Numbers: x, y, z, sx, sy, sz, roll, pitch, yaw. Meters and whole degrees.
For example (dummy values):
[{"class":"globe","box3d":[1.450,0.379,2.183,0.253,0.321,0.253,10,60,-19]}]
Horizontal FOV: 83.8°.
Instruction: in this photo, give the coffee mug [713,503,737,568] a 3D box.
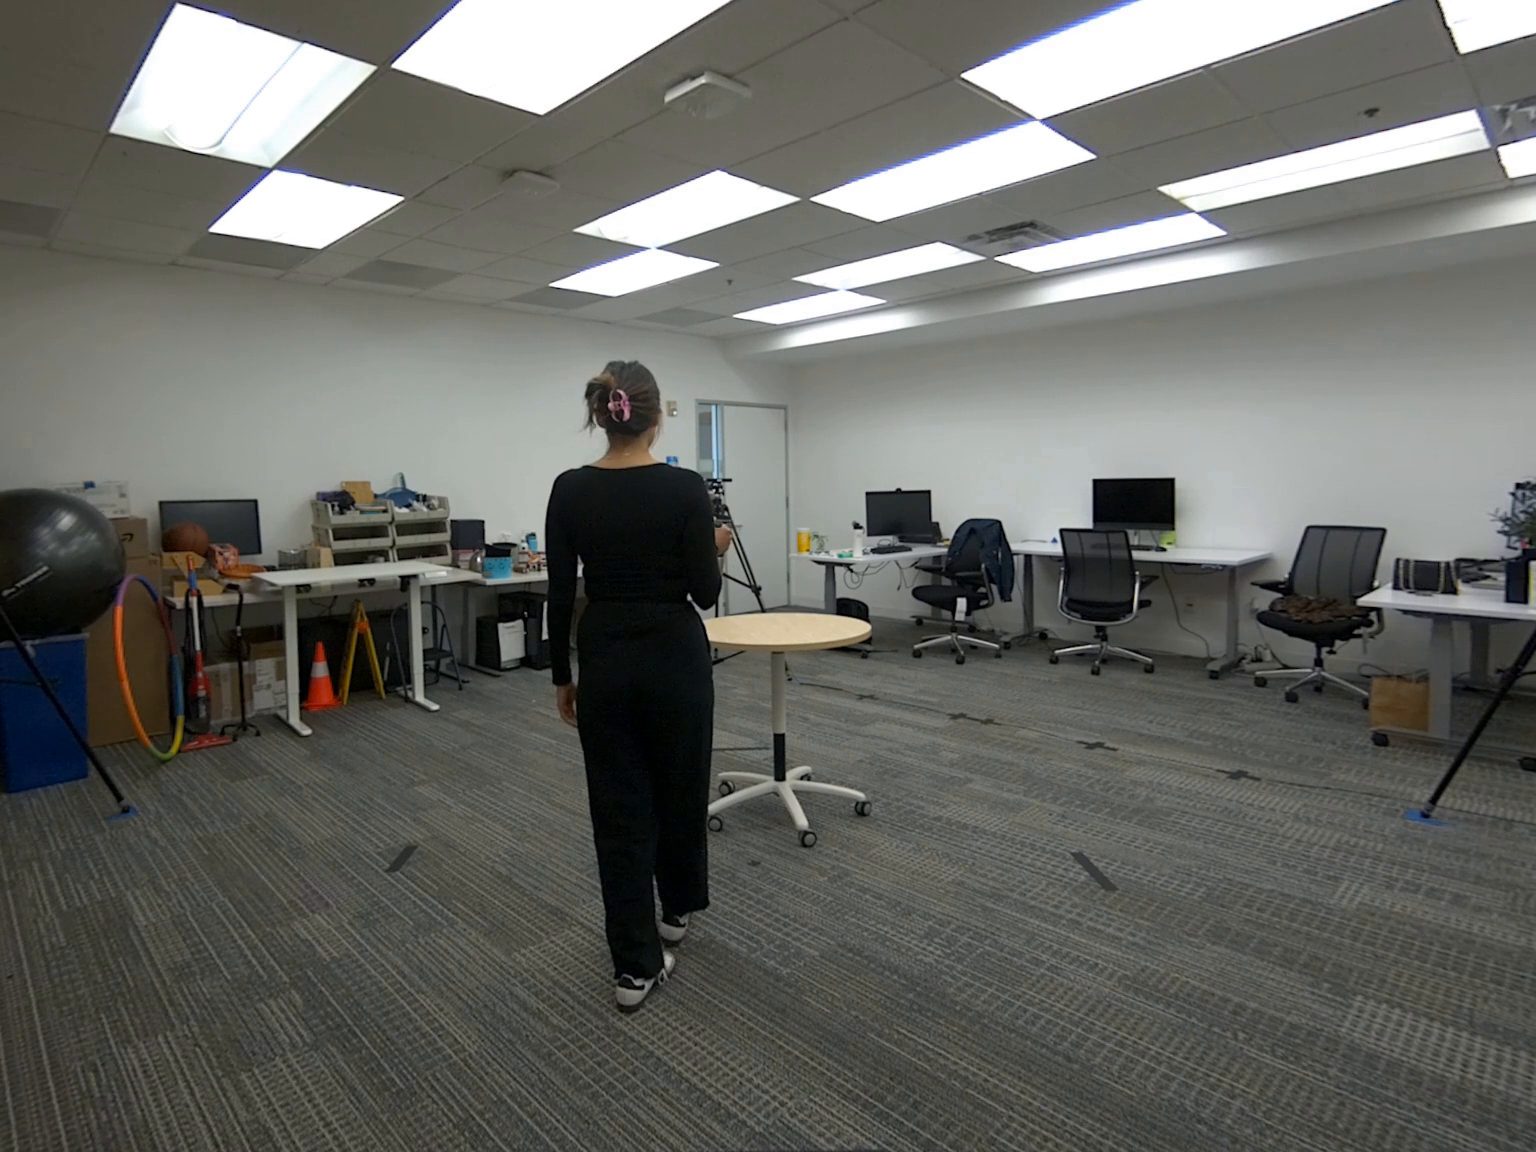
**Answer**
[{"class":"coffee mug","box3d":[-0.176,-0.081,2.555,0.118,0.203,0.091,7,0,-39]}]
